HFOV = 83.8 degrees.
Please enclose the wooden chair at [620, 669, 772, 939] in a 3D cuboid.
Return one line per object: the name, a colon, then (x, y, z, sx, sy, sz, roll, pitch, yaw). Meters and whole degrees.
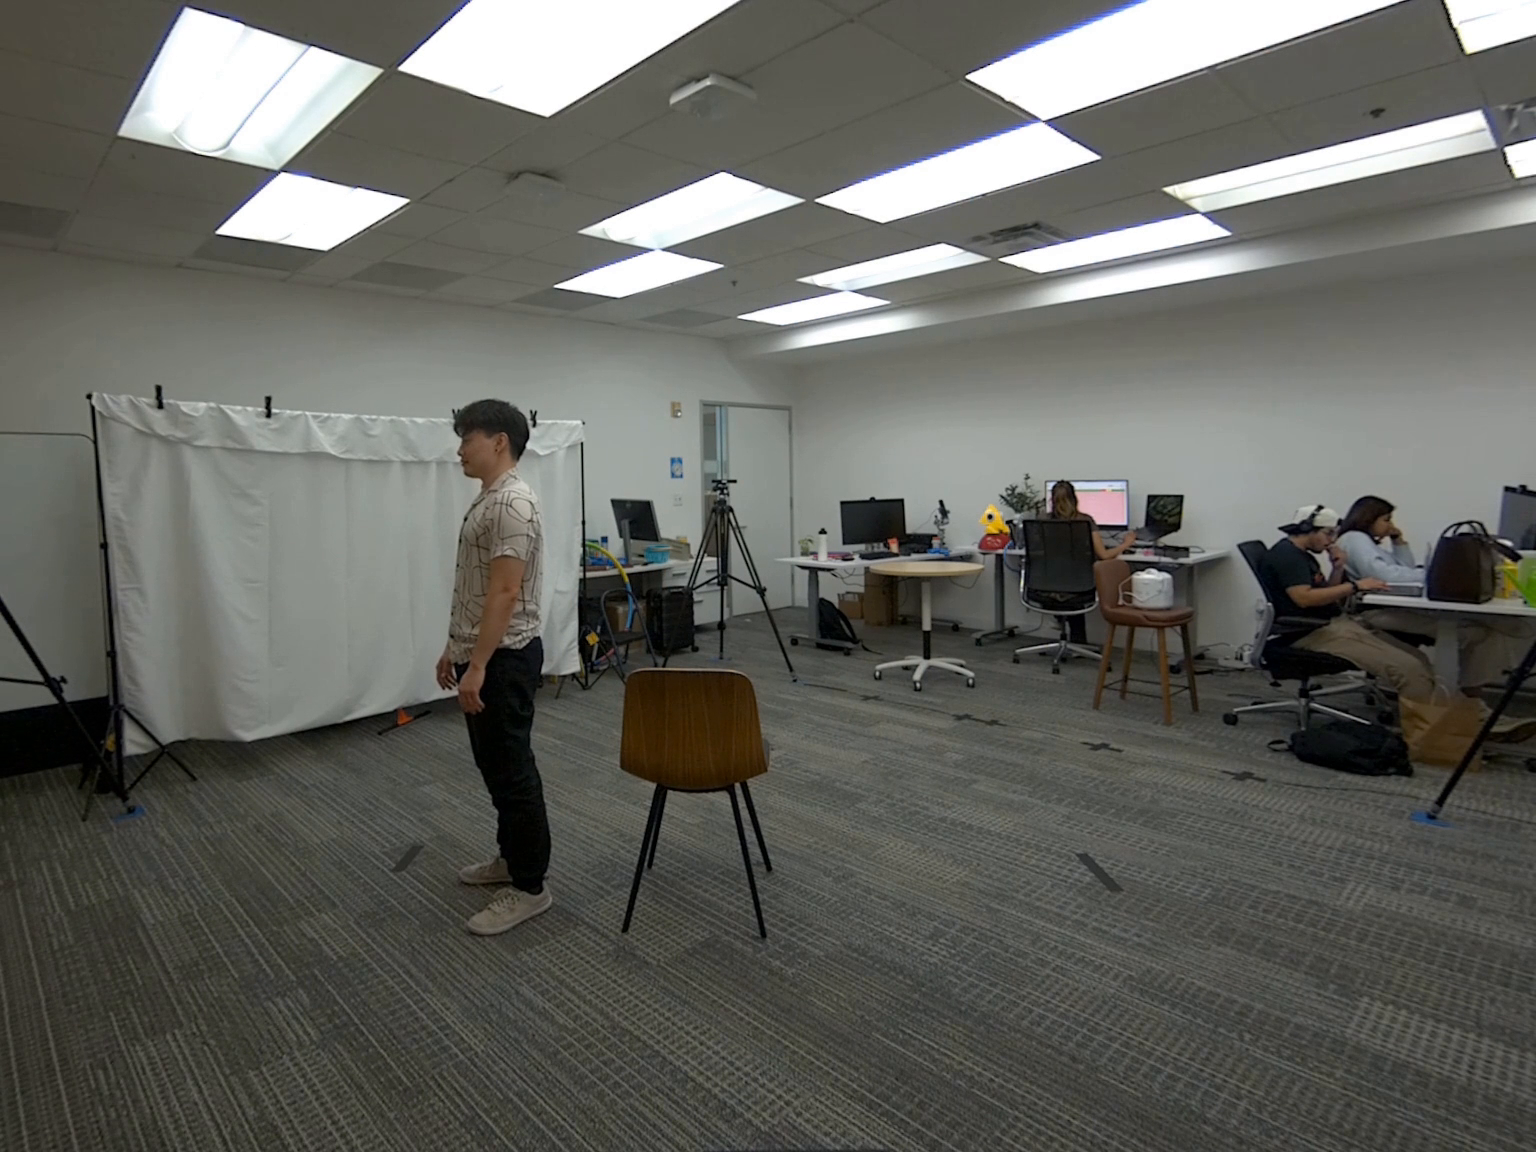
wooden chair: (-0.229, 0.654, 2.829, 0.481, 0.870, 0.525, -1, 9, 4)
